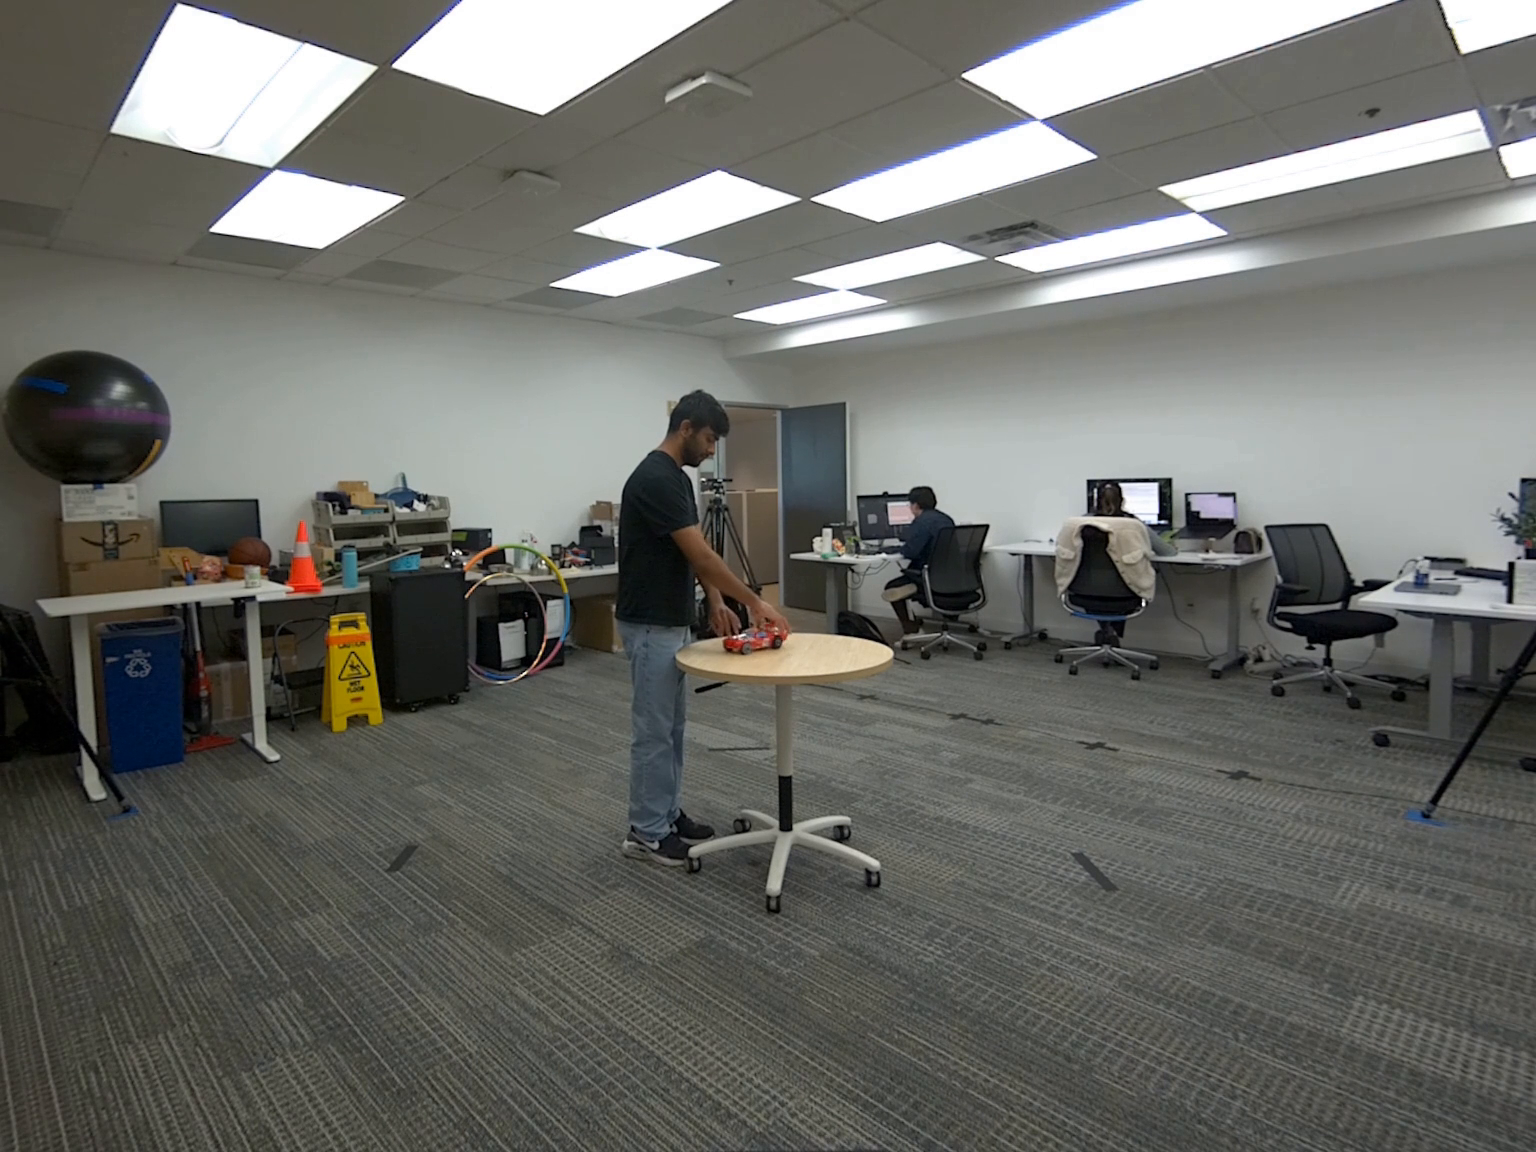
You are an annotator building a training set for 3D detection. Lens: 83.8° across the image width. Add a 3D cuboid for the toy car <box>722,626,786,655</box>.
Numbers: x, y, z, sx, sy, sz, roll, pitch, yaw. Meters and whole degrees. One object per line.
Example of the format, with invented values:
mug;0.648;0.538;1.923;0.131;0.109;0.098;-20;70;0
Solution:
toy car;-0.035;0.231;3.079;0.250;0.082;0.134;-19;15;-36
